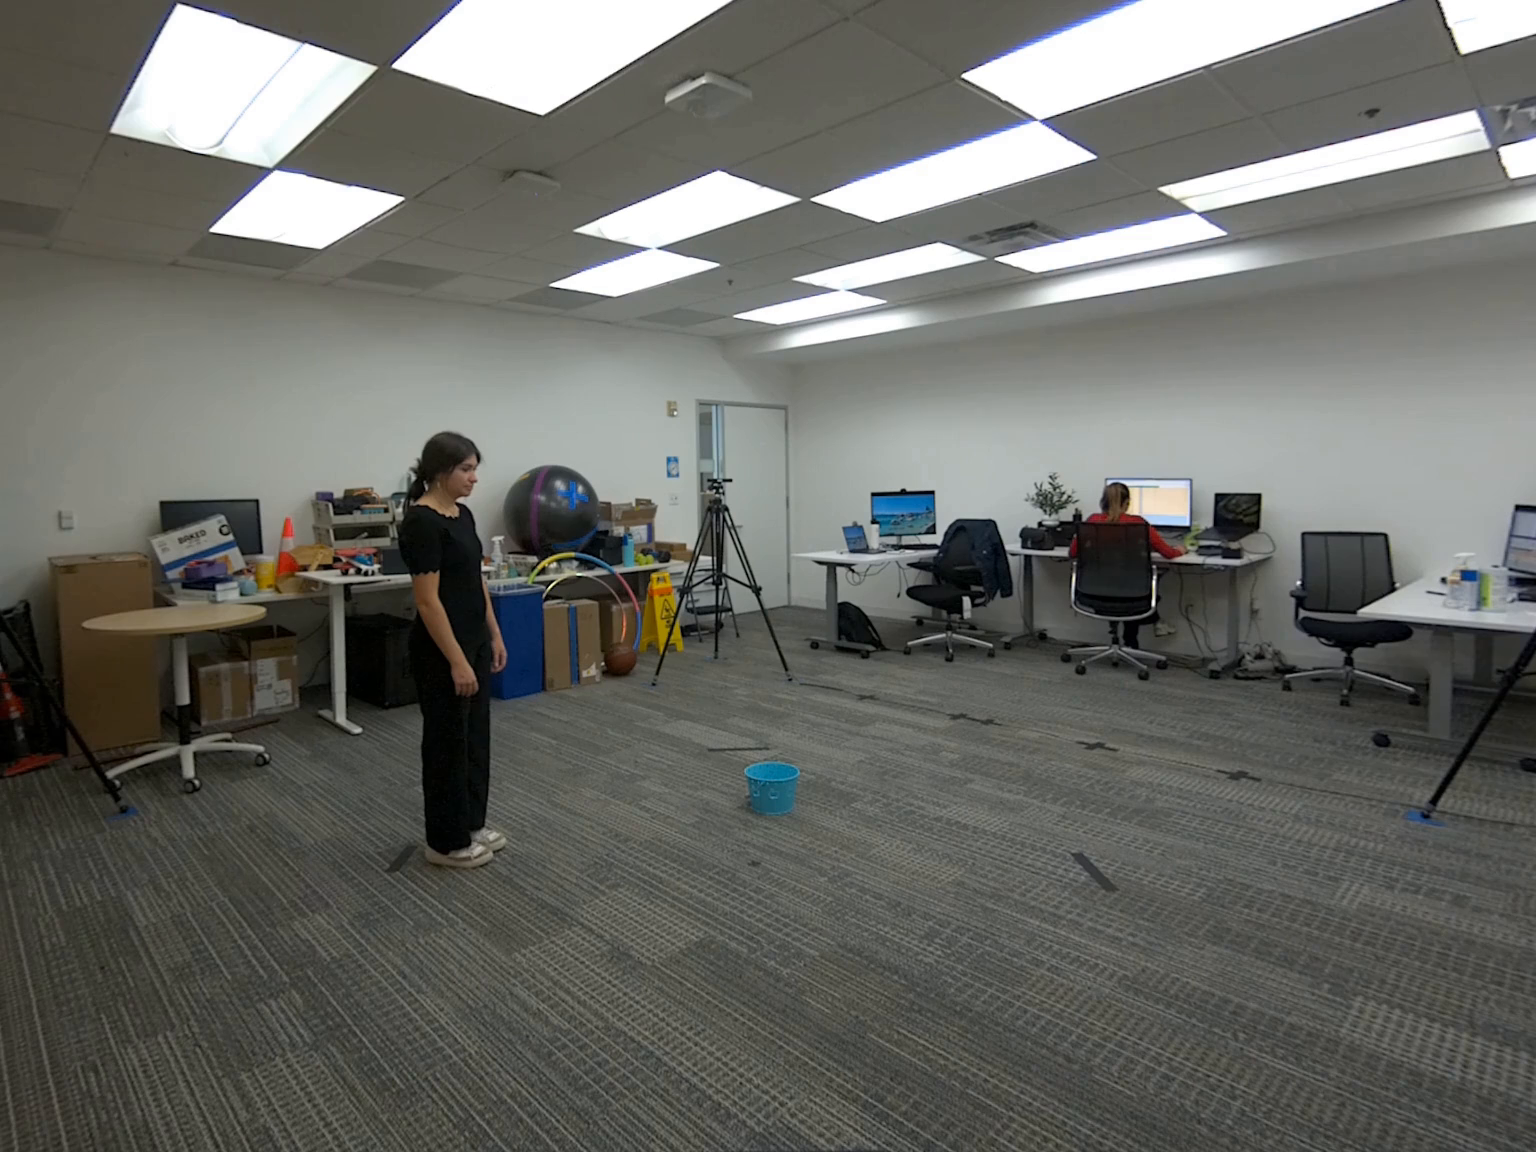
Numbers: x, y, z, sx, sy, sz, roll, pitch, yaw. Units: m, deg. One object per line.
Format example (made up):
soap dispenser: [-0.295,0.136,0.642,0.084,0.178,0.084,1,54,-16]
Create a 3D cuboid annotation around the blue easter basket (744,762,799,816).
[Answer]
blue easter basket: [0.016,0.904,3.649,0.243,0.155,0.245,-1,5,-2]
